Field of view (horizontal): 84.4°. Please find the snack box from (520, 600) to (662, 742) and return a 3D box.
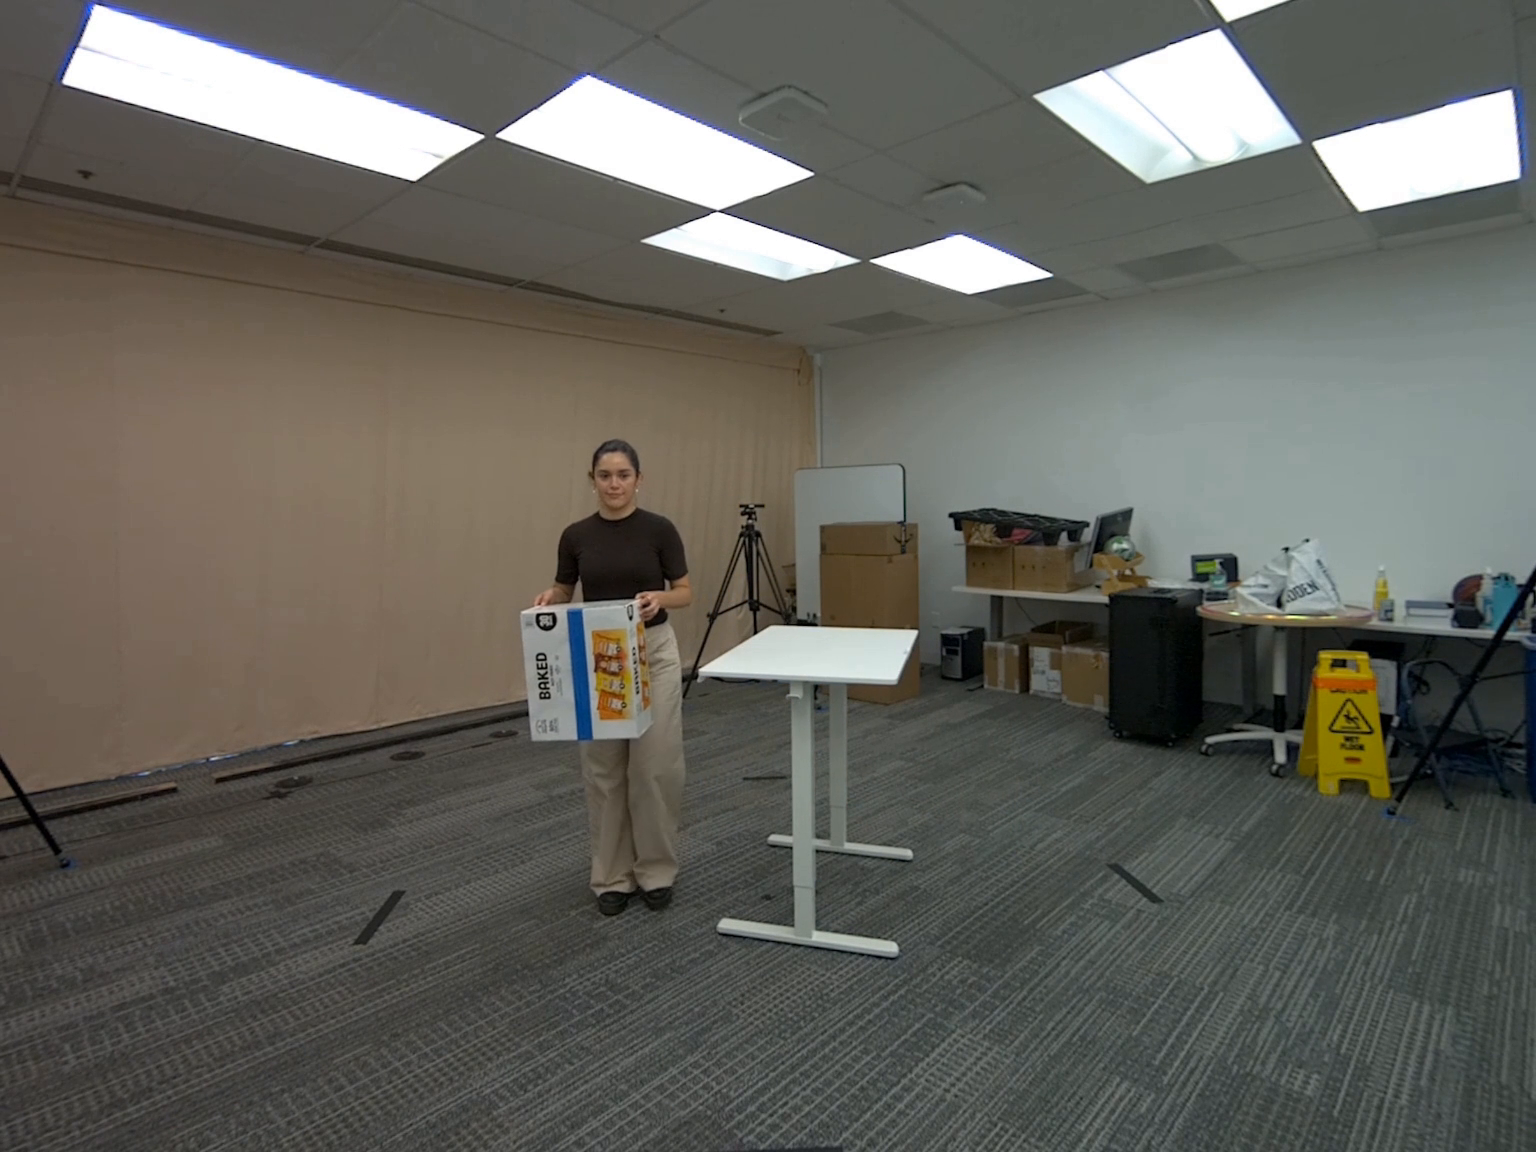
[{"bbox_3d":[-0.562,0.292,2.657,0.343,0.404,0.204,-3,3,8],"label":"snack box"}]
